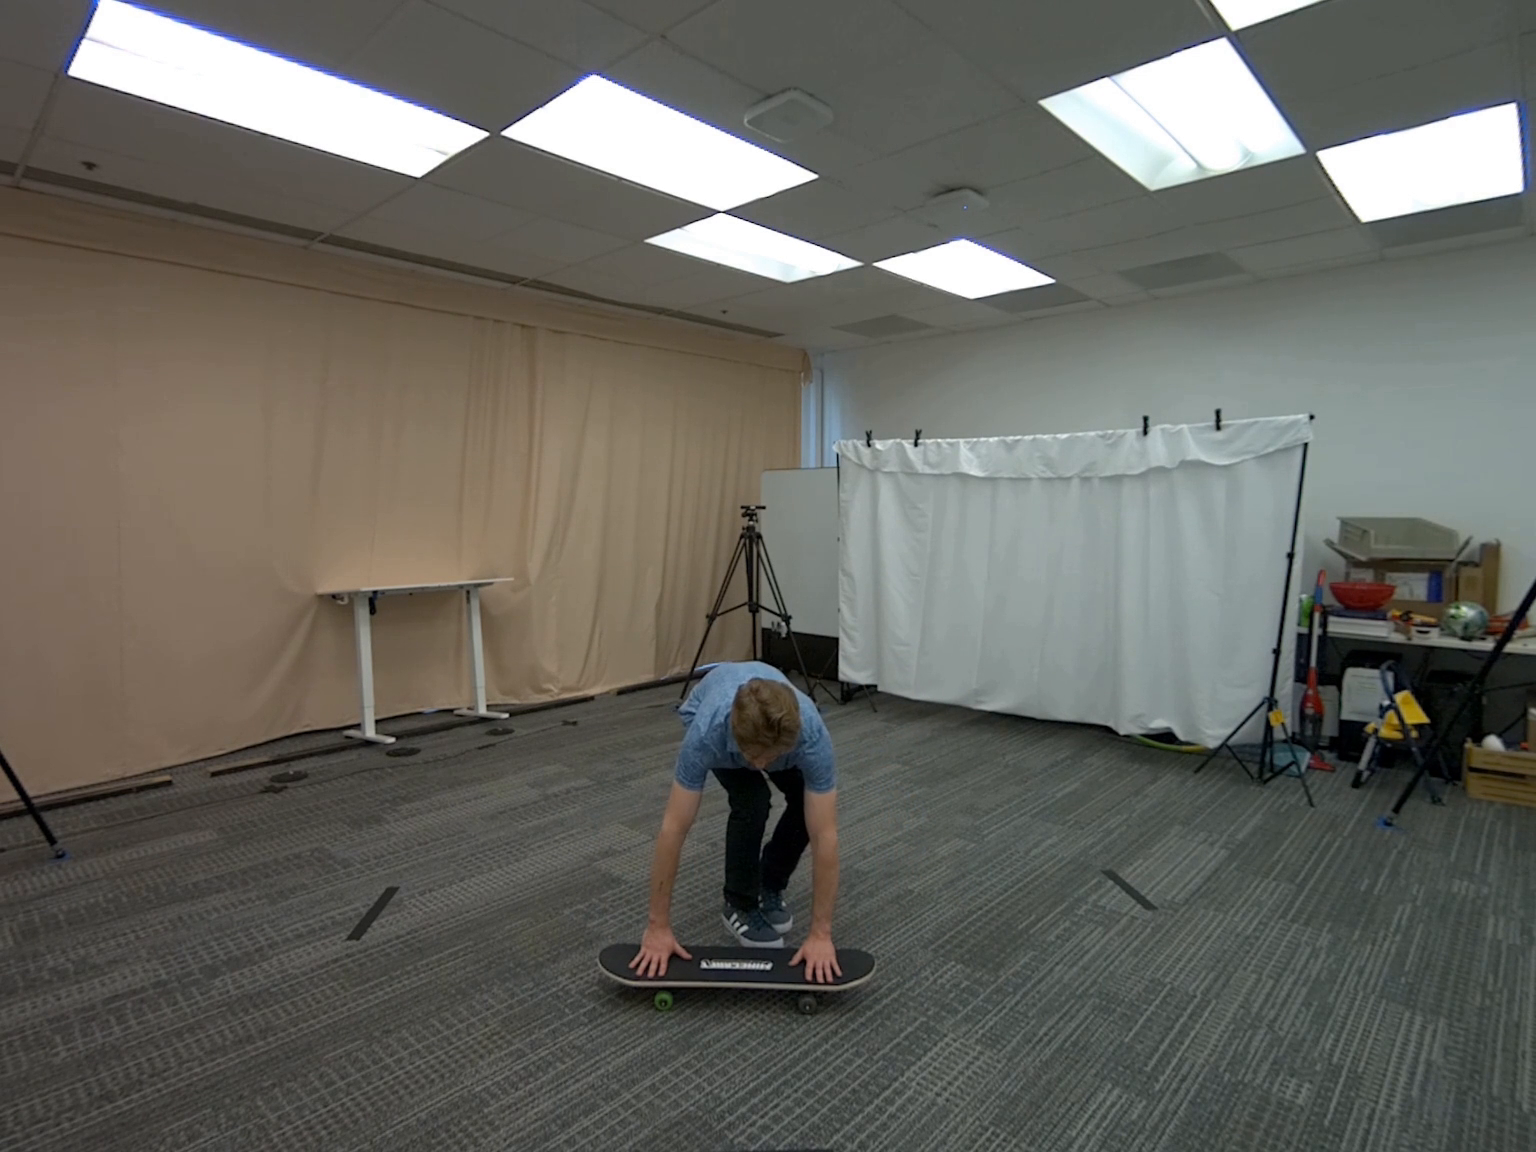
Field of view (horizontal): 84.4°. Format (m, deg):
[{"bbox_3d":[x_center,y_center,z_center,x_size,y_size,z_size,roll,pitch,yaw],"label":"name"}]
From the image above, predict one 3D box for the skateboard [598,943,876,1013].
[{"bbox_3d":[-0.098,1.130,2.399,0.788,0.110,0.193,0,6,3],"label":"skateboard"}]
